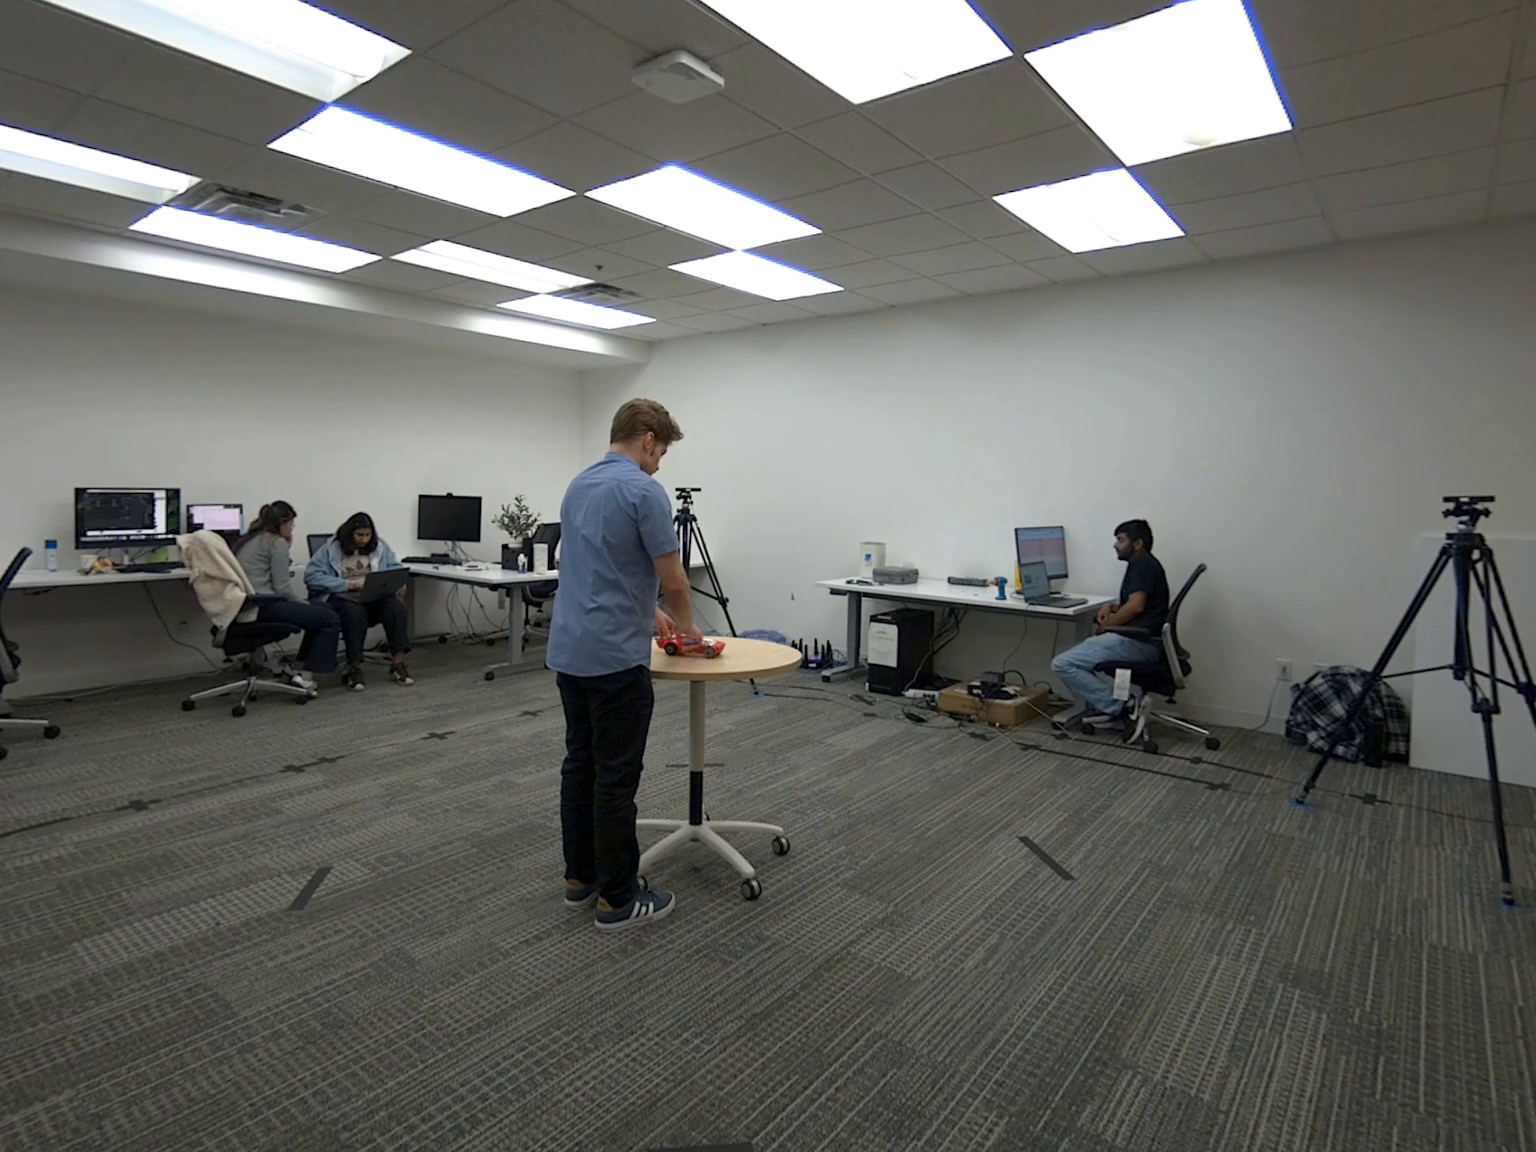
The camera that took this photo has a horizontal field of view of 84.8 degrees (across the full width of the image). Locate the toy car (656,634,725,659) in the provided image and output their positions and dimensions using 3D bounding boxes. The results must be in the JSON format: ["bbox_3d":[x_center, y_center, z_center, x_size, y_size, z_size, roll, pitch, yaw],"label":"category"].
[{"bbox_3d":[-0.297,0.254,3.099,0.259,0.083,0.128,12,6,14],"label":"toy car"}]
